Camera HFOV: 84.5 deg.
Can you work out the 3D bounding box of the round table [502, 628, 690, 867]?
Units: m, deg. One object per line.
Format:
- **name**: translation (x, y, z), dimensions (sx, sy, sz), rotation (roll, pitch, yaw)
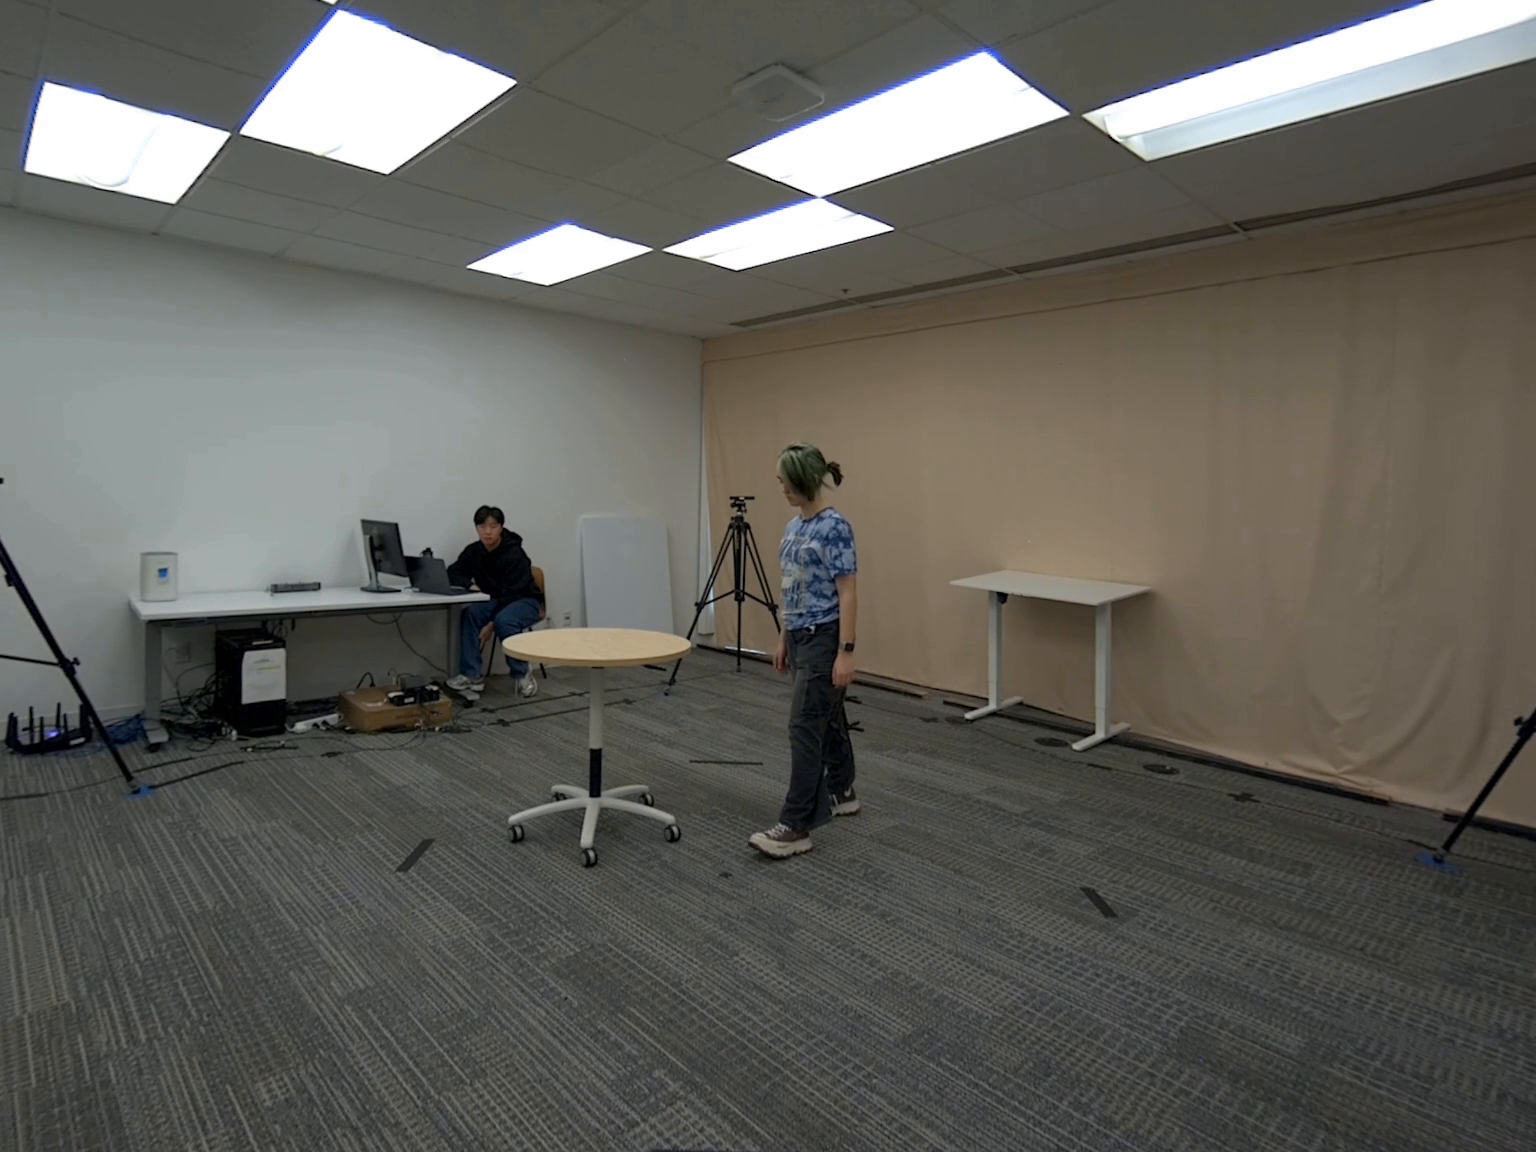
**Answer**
- **round table**: translation (-0.719, 0.669, 3.484), dimensions (0.763, 0.792, 0.766), rotation (2, 4, -1)
